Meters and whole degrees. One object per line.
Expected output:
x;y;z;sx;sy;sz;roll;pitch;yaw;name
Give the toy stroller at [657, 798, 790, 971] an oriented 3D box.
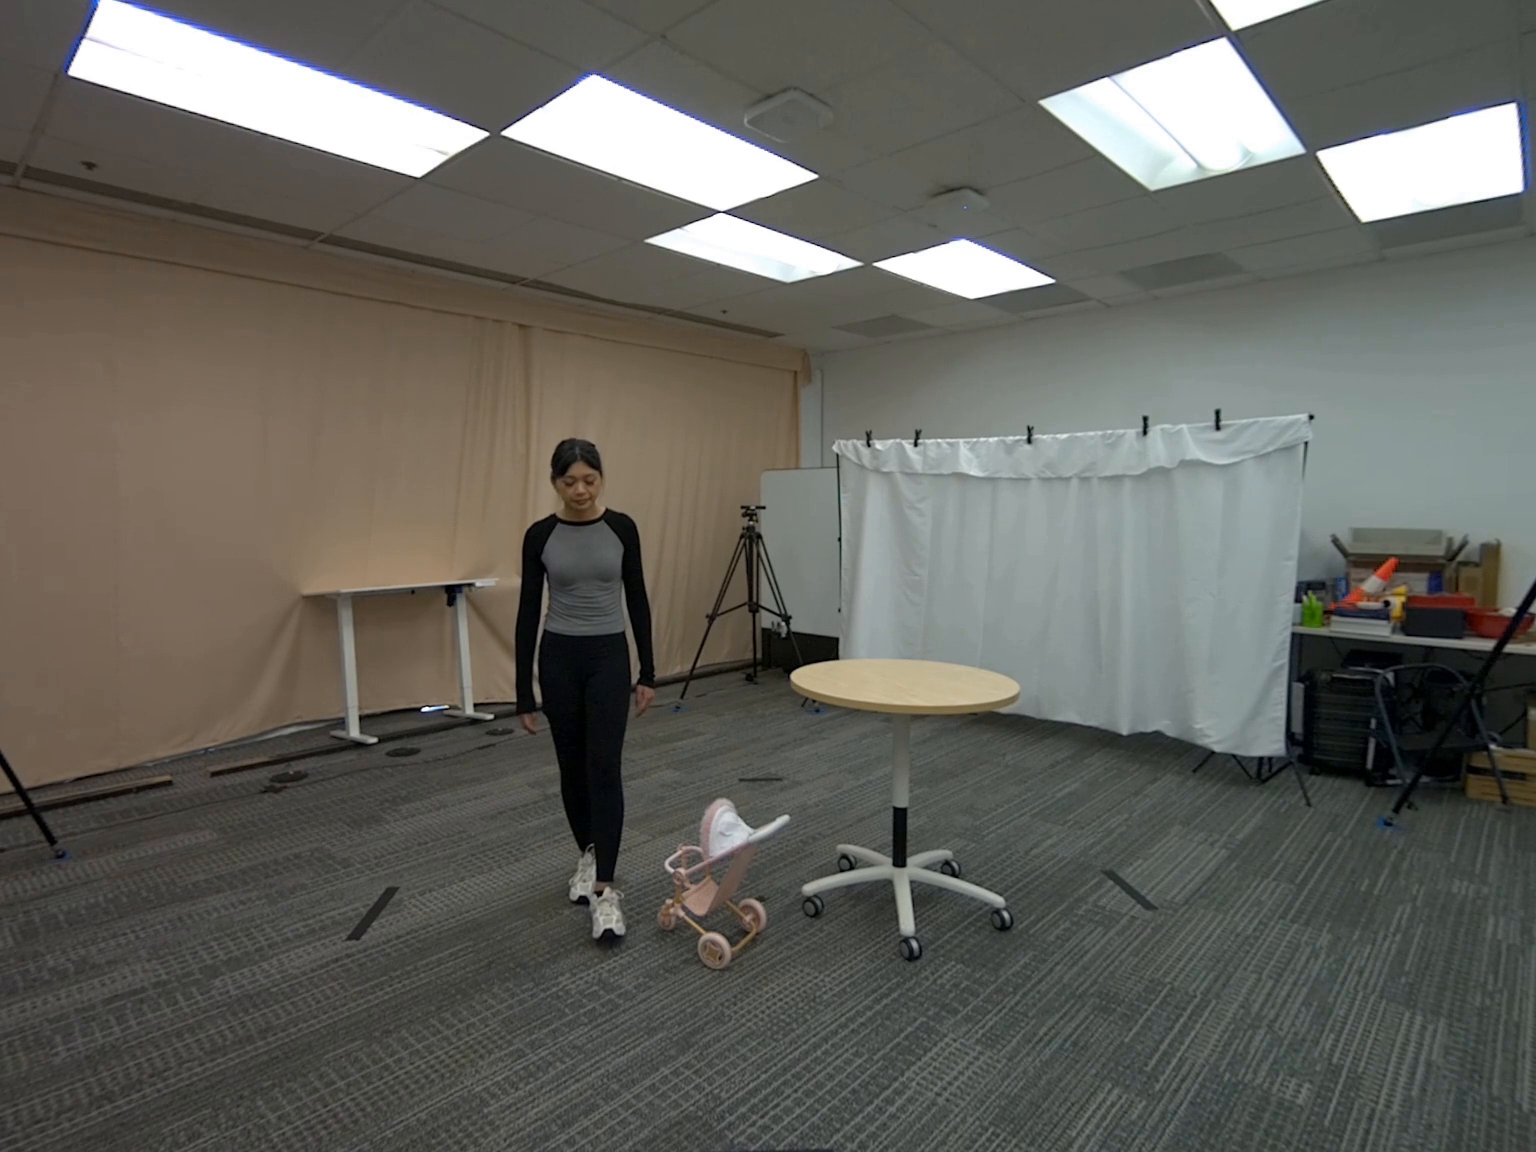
-0.162;0.947;2.665;0.352;0.533;0.273;19;11;30;toy stroller
